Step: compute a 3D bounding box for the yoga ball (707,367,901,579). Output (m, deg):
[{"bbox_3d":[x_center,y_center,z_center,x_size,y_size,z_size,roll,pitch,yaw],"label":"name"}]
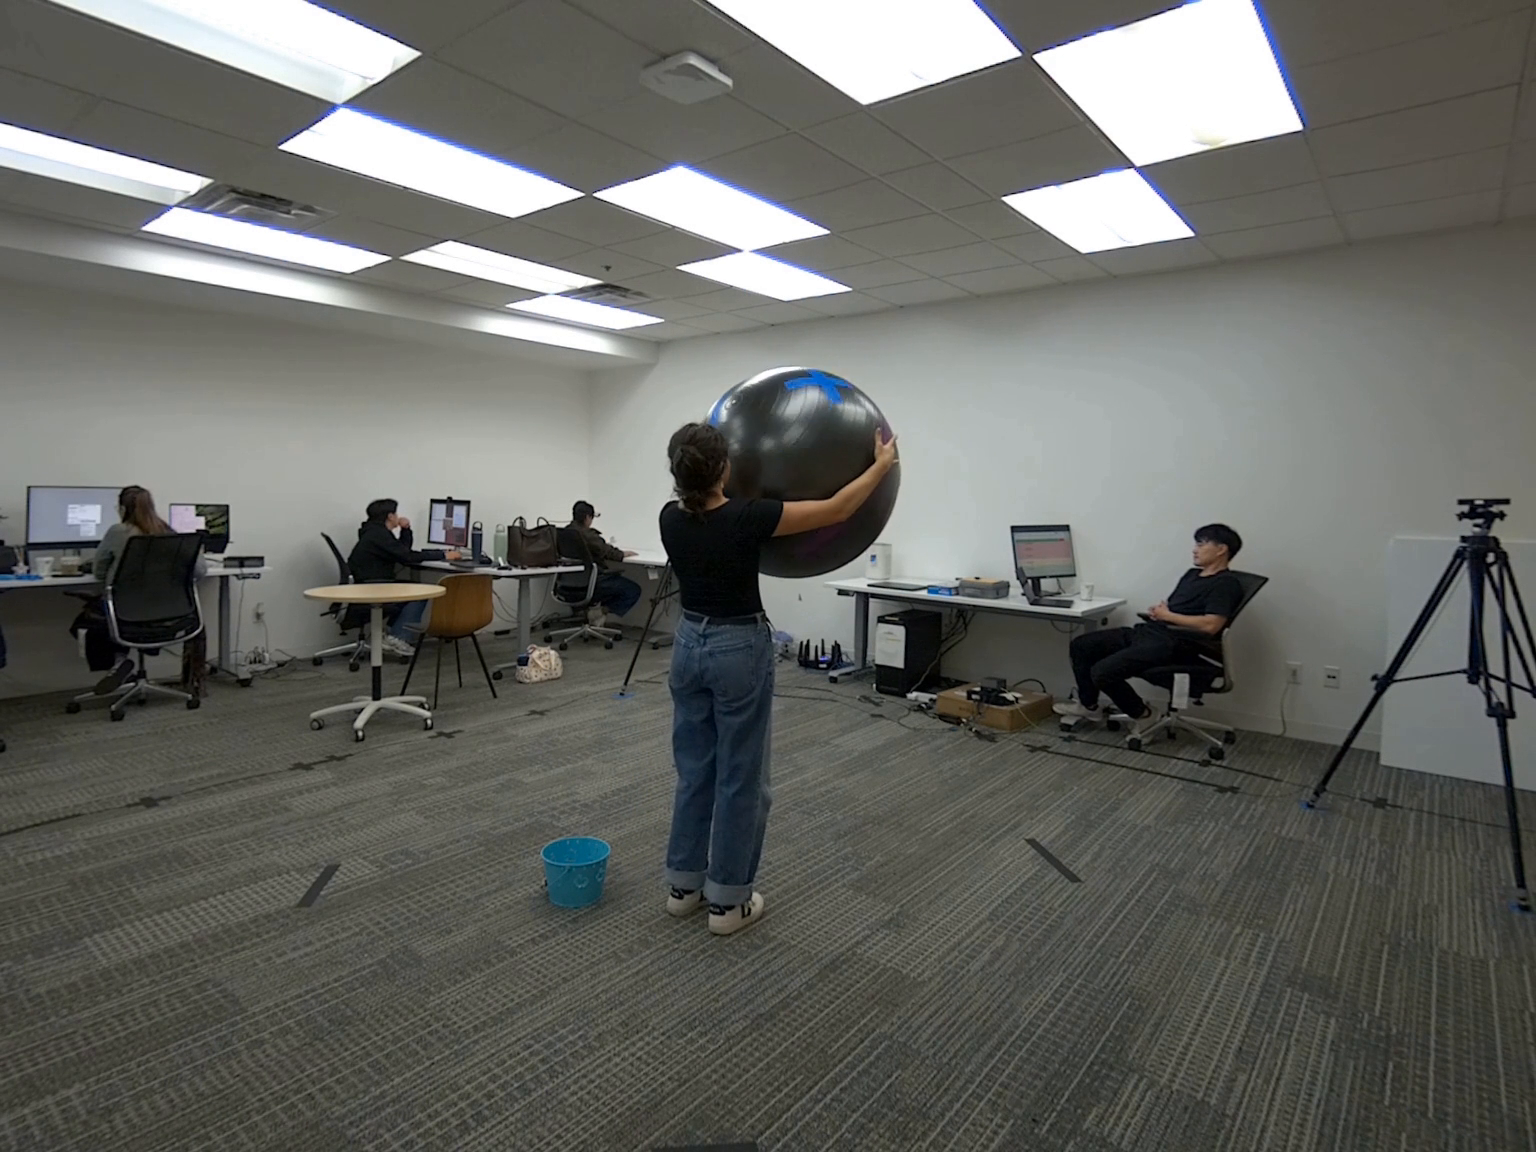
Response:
[{"bbox_3d":[0.089,-0.363,3.076,0.757,0.755,0.762,1,4,-2],"label":"yoga ball"}]
